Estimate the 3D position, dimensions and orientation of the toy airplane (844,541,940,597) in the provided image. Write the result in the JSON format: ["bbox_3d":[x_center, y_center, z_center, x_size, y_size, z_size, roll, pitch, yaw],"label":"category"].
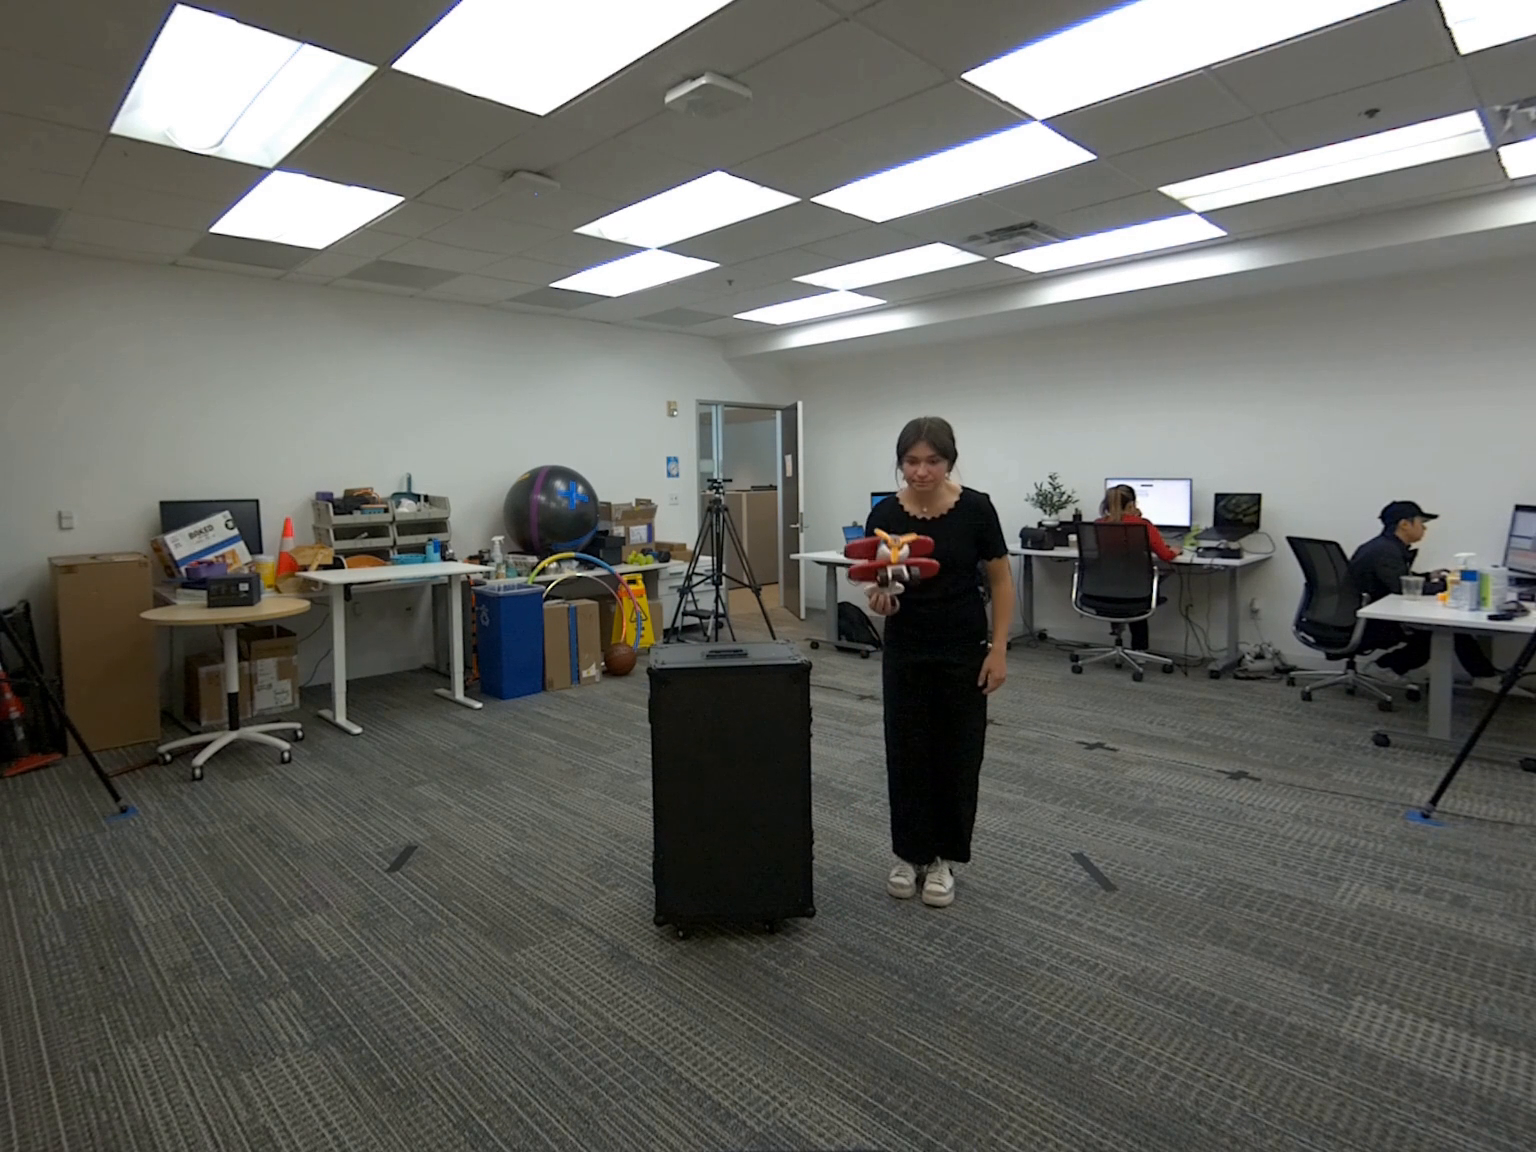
[{"bbox_3d":[0.337,0.027,2.434,0.245,0.158,0.263,-1,-9,-28],"label":"toy airplane"}]
